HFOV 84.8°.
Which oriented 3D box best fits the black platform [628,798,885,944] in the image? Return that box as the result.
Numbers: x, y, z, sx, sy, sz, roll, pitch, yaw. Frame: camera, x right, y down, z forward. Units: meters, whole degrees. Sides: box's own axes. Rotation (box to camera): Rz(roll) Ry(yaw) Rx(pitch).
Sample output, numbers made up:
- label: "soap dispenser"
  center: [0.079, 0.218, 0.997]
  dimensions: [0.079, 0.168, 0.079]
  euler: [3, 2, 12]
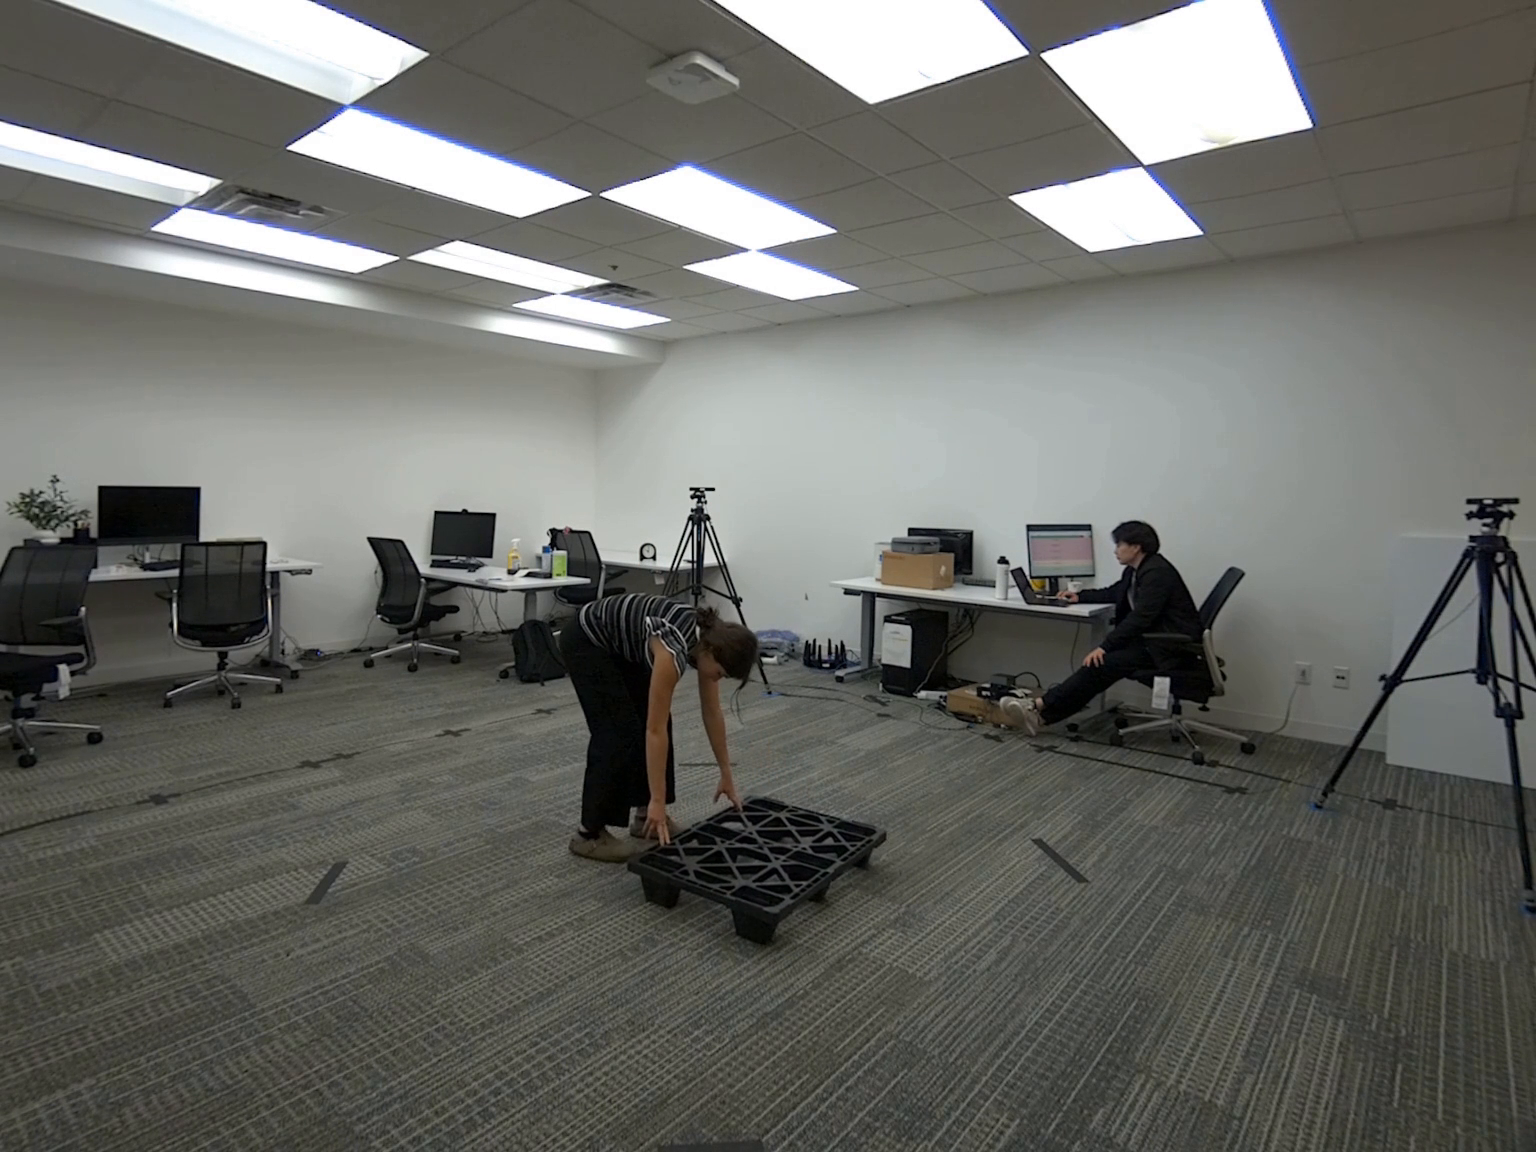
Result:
- label: "black platform"
  center: [-0.022, 1.012, 3.015]
  dimensions: [0.624, 0.143, 0.784]
  euler: [5, 7, 33]
